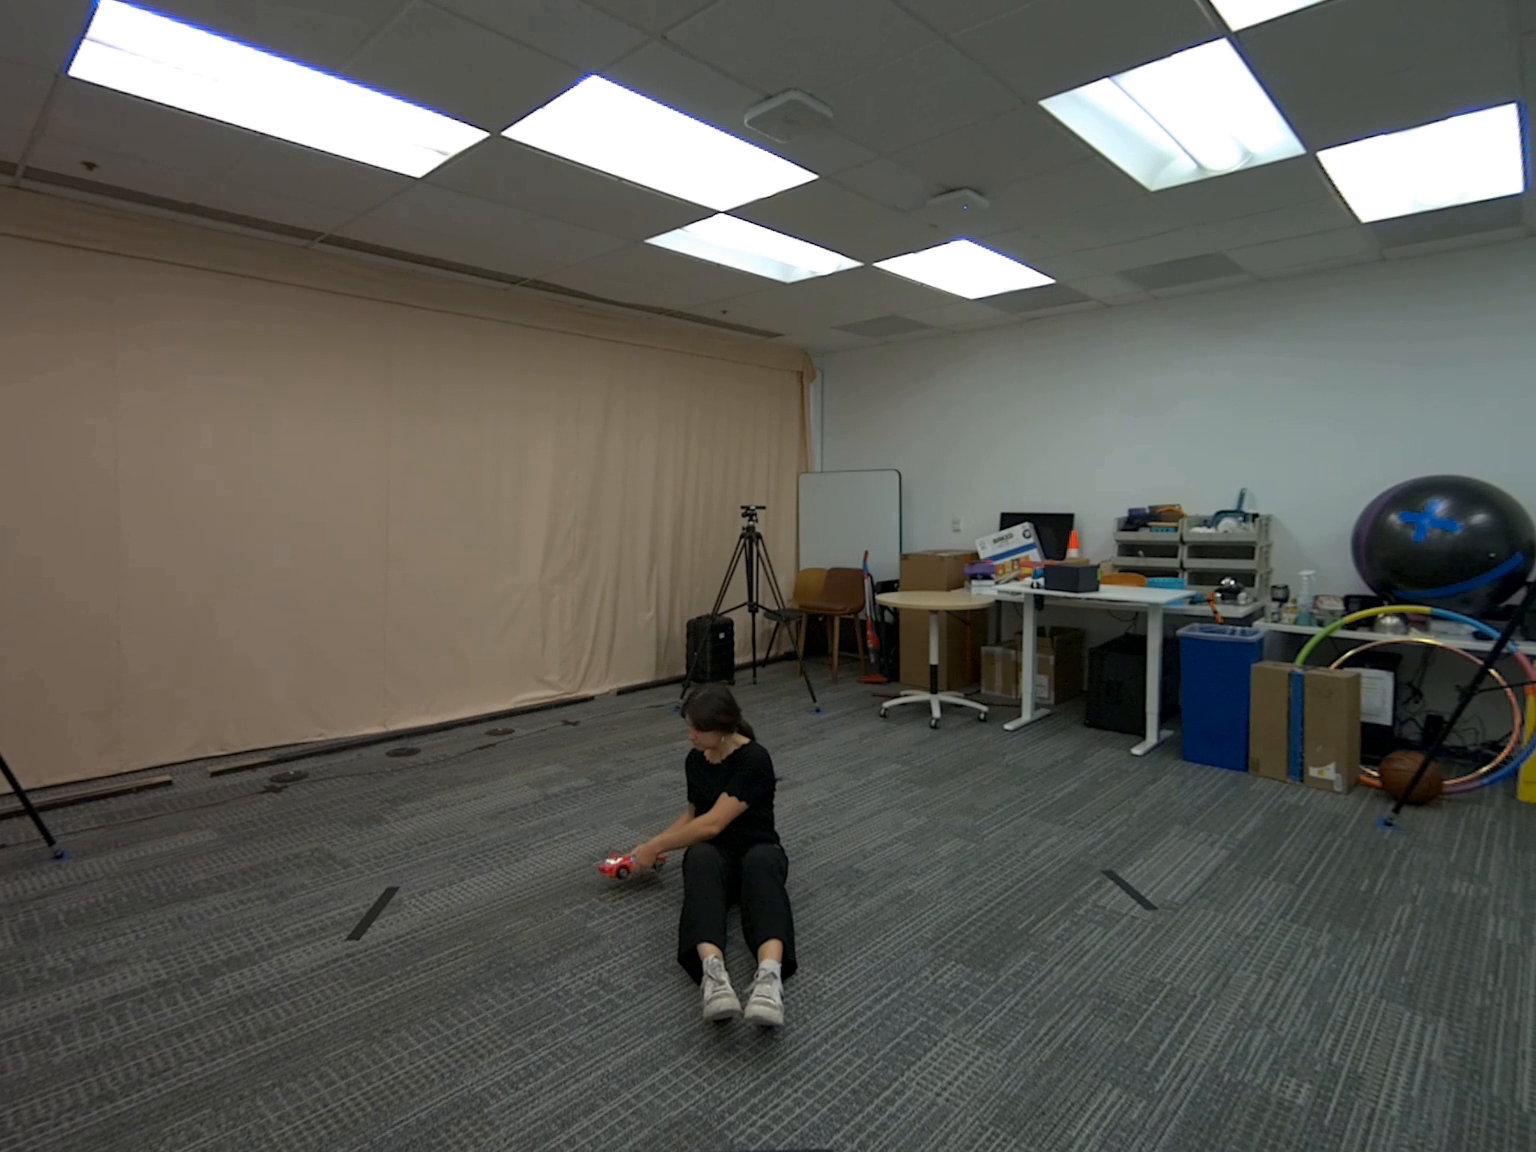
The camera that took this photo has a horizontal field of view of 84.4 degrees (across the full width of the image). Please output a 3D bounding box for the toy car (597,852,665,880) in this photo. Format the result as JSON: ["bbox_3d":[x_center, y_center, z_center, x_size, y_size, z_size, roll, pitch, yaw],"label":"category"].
[{"bbox_3d":[-0.502,1.064,3.079,0.248,0.084,0.132,10,-19,-25],"label":"toy car"}]
